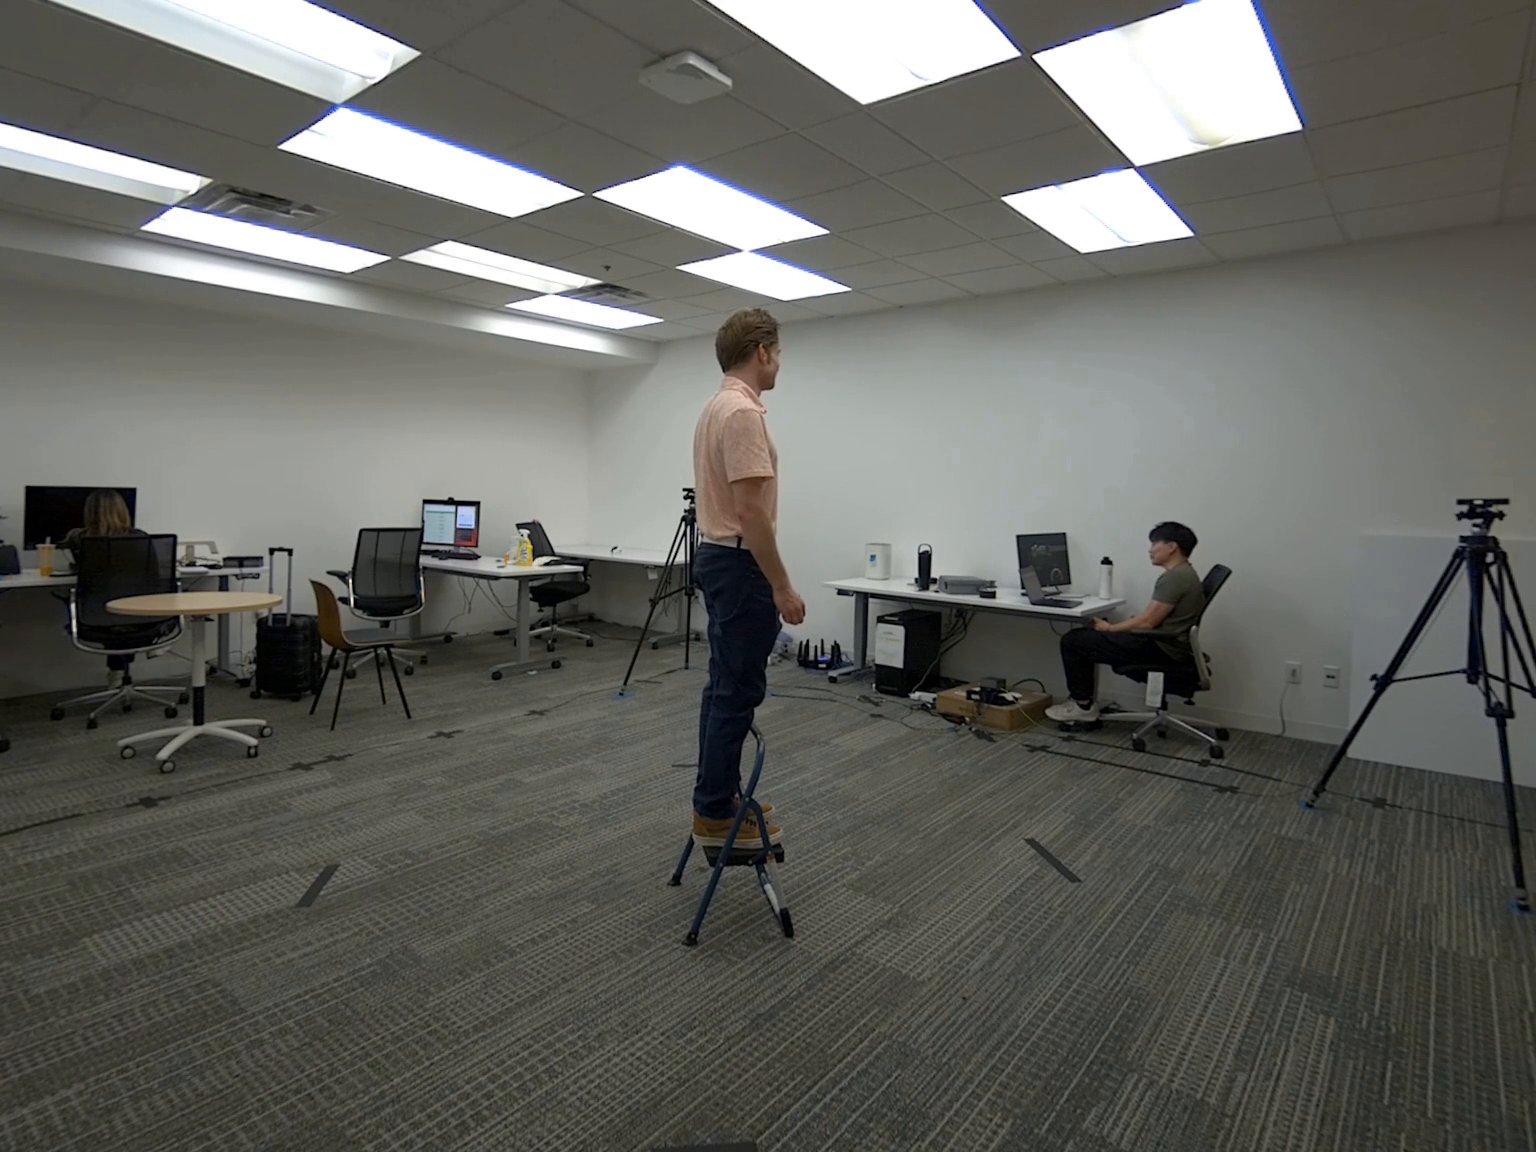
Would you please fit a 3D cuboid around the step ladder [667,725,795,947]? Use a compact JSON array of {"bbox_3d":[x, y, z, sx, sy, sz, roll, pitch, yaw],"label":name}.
[{"bbox_3d":[-0.129,0.802,2.802,0.345,0.604,0.437,0,4,-13],"label":"step ladder"}]
